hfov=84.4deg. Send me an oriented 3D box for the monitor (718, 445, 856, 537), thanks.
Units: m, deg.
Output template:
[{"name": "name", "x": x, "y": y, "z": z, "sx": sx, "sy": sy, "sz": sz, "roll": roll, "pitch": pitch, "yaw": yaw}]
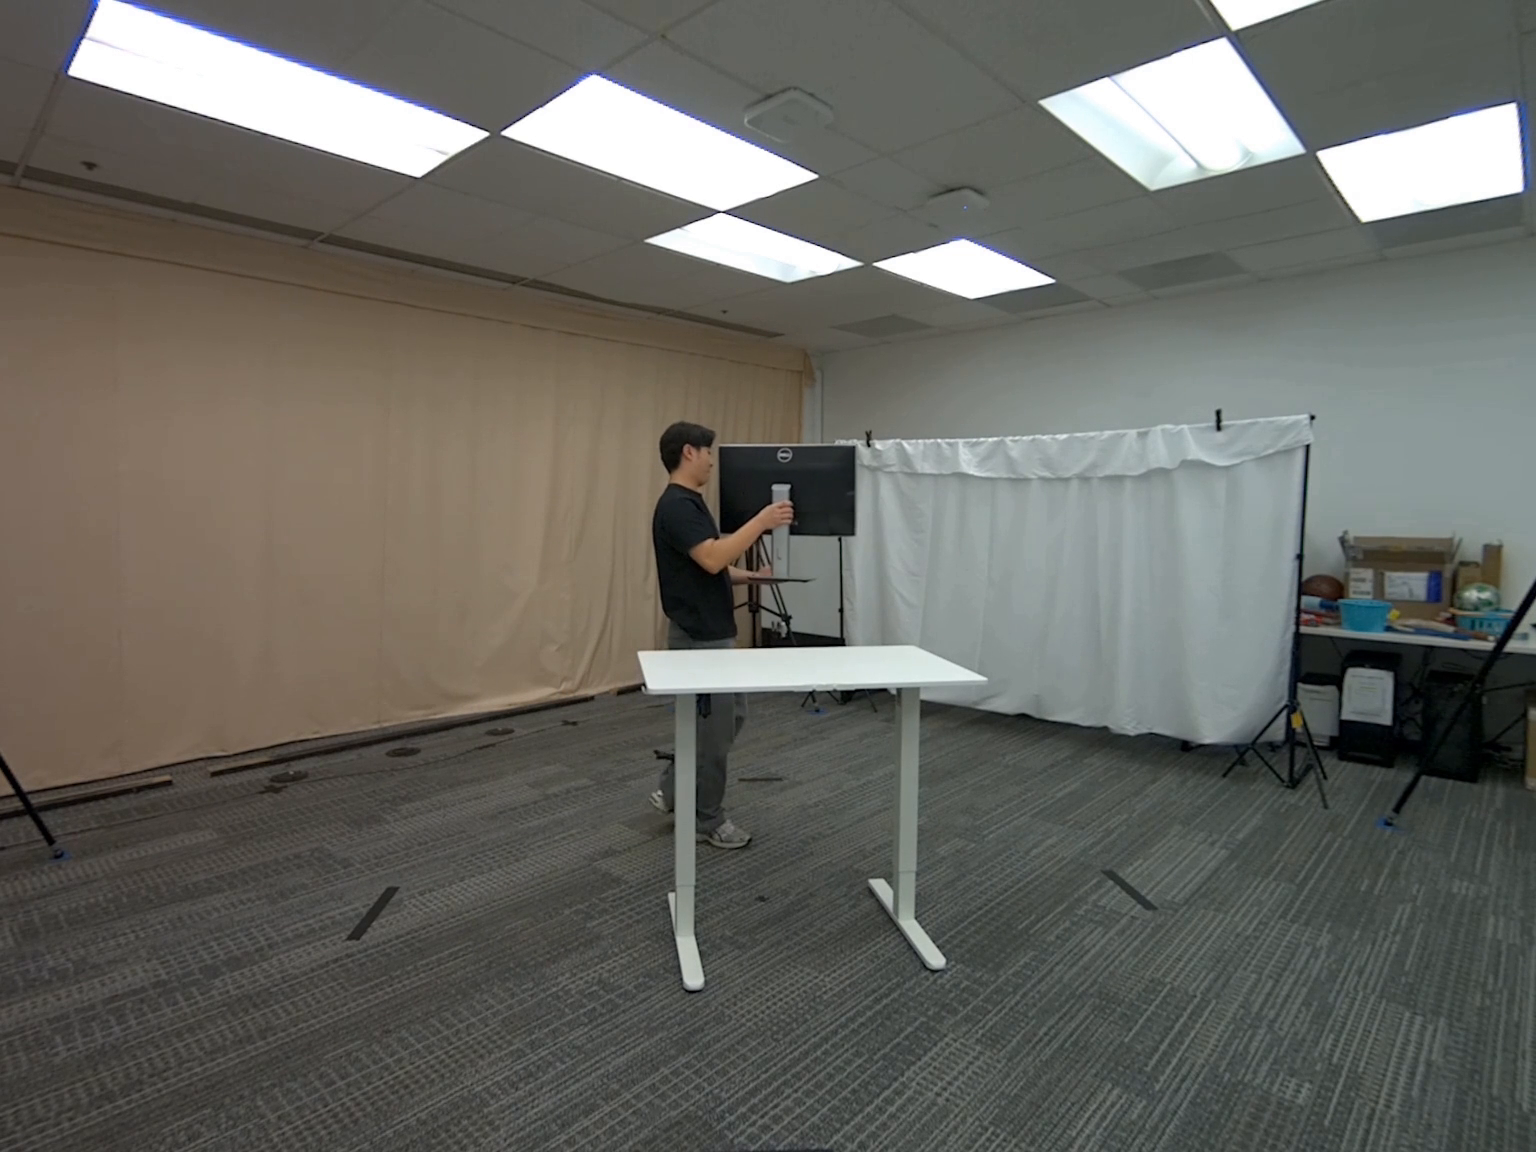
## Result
[{"name": "monitor", "x": 0.065, "y": -0.241, "z": 3.326, "sx": 0.573, "sy": 0.568, "sz": 0.217, "roll": 2, "pitch": -6, "yaw": 18}]
